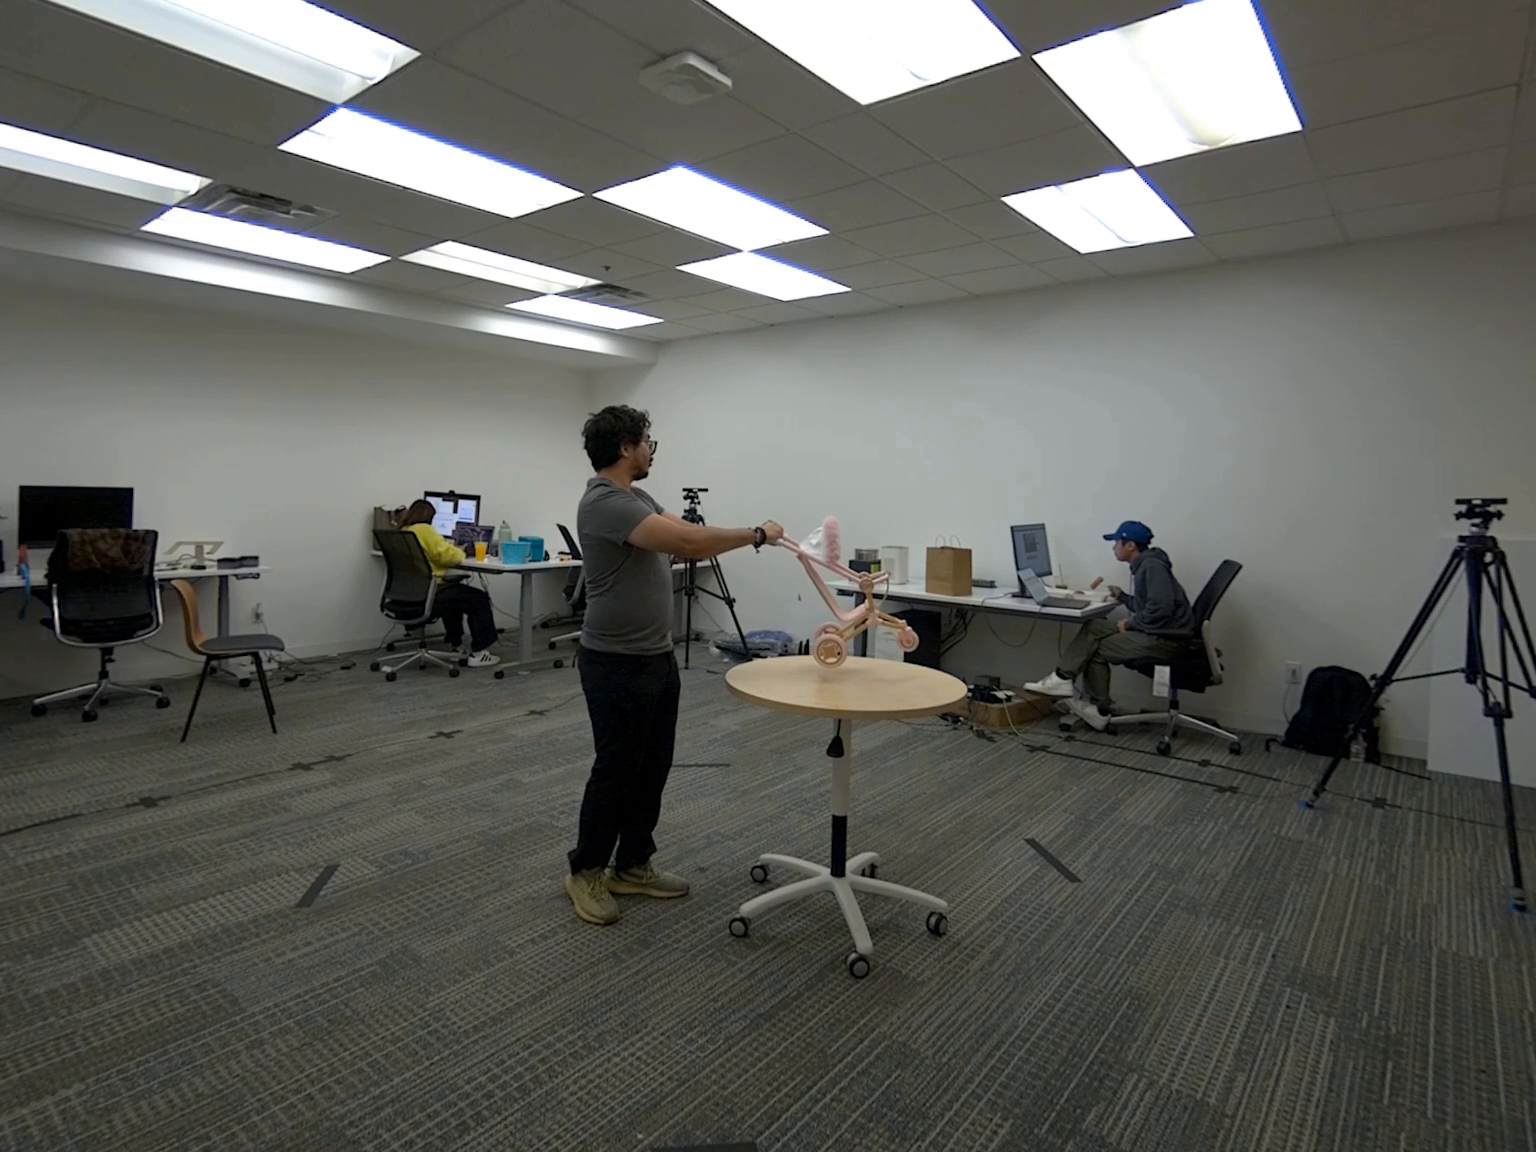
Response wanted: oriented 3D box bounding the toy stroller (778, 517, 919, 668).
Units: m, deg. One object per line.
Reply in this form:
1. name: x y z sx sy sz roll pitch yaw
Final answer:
1. toy stroller: 0.243 0.044 2.788 0.344 0.536 0.279 -21 0 12
